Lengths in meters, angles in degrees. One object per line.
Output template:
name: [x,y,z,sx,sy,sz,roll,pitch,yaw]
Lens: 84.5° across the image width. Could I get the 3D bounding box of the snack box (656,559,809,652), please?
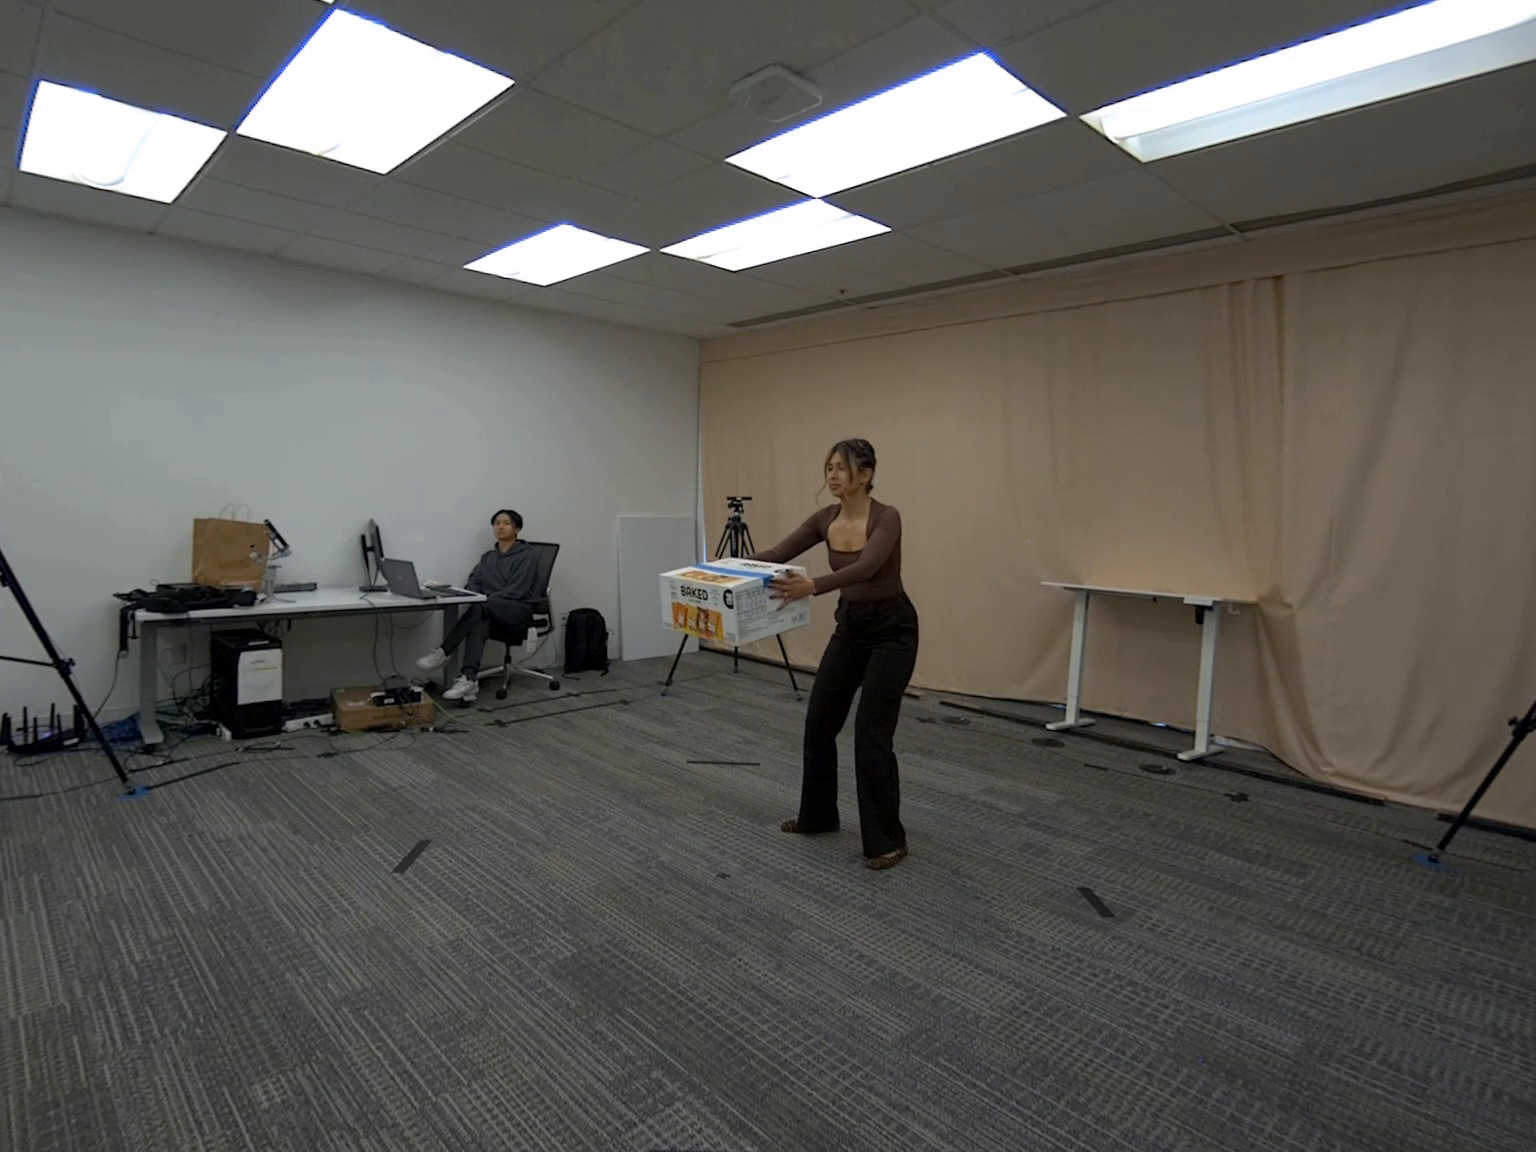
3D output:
snack box: [-0.129,0.088,2.968,0.334,0.204,0.416,-14,15,-40]
